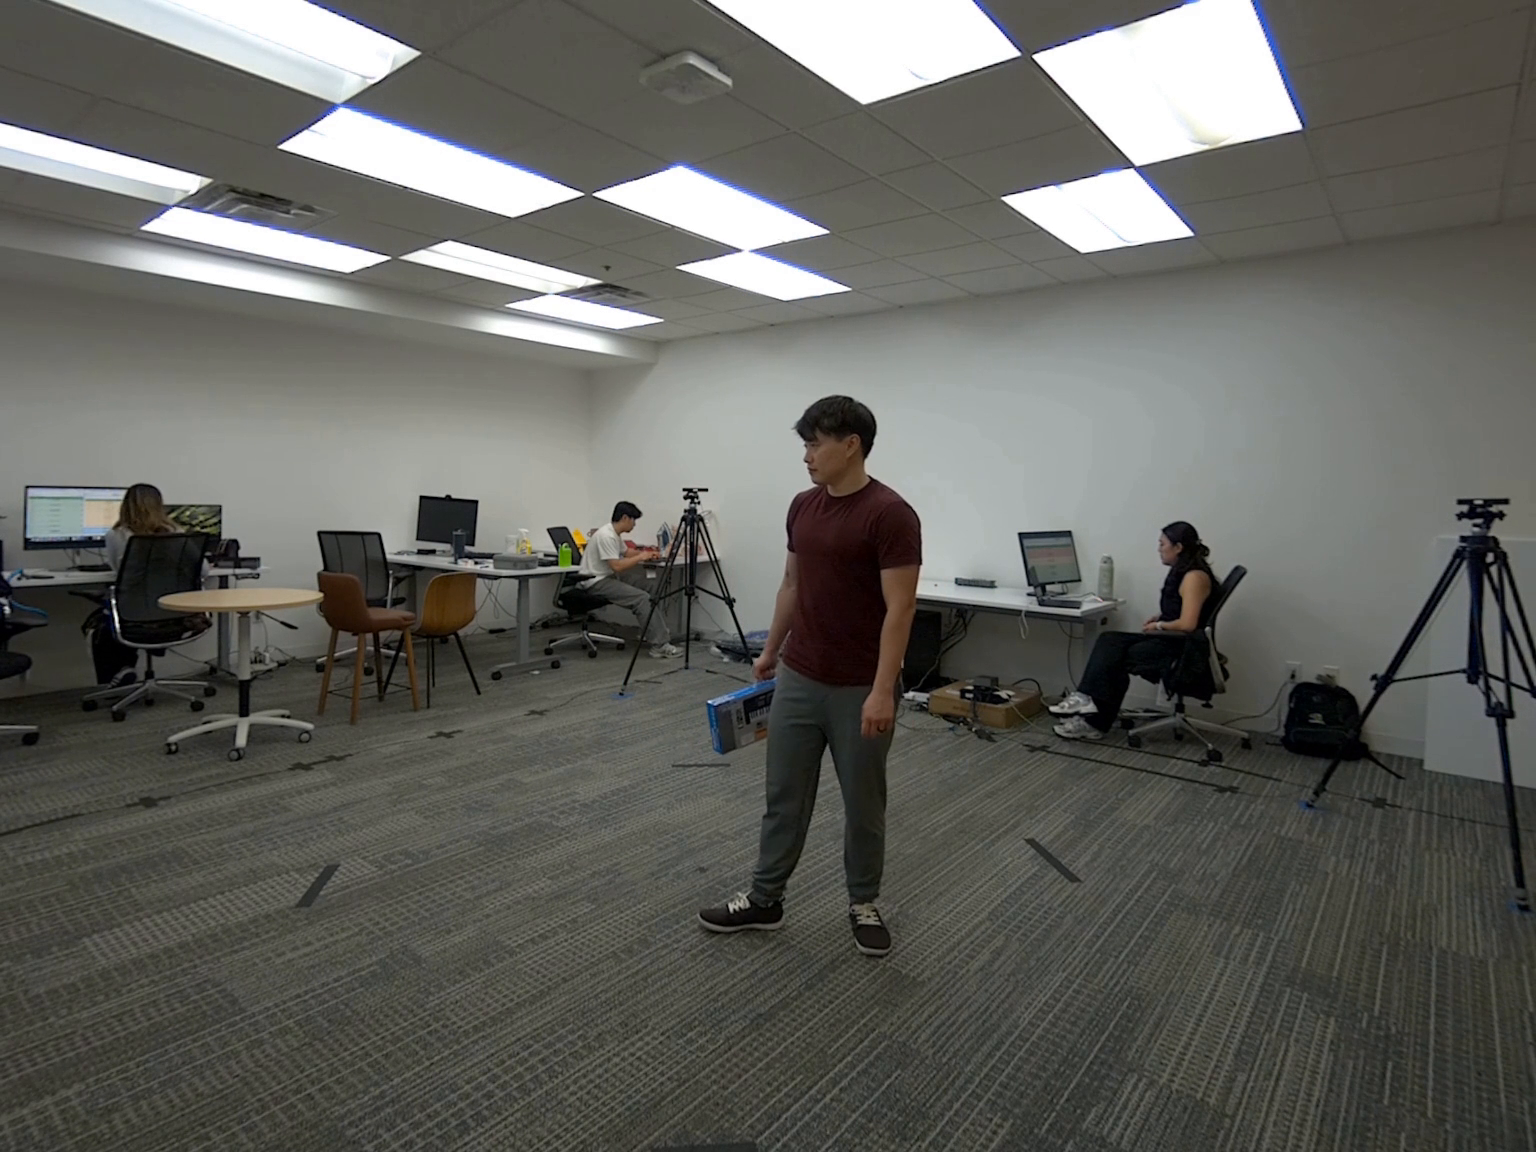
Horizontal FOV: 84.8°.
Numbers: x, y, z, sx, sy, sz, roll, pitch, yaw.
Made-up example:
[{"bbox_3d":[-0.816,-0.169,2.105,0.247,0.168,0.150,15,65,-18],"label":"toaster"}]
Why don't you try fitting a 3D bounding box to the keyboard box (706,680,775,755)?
[{"bbox_3d":[-0.014,0.443,2.865,0.428,0.174,0.061,-15,11,-30],"label":"keyboard box"}]
